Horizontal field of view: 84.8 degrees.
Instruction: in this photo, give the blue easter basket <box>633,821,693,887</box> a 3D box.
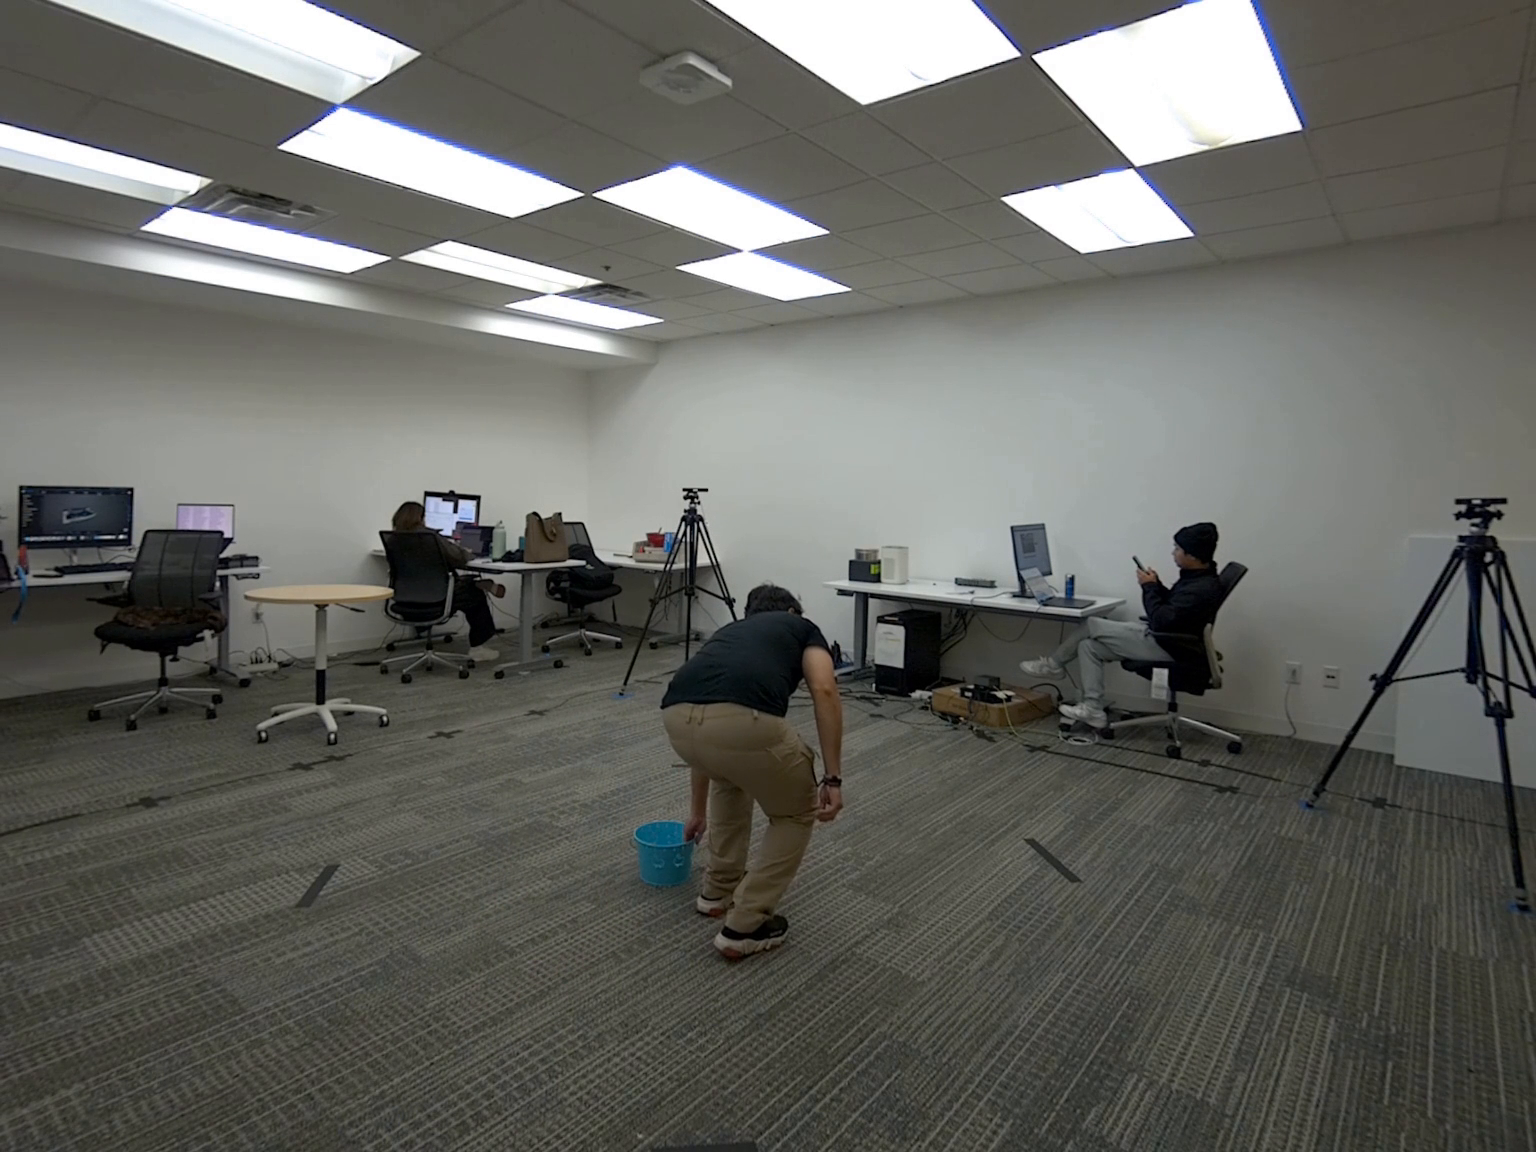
[{"bbox_3d":[-0.371,0.993,3.064,0.243,0.155,0.245,1,4,-2],"label":"blue easter basket"}]
